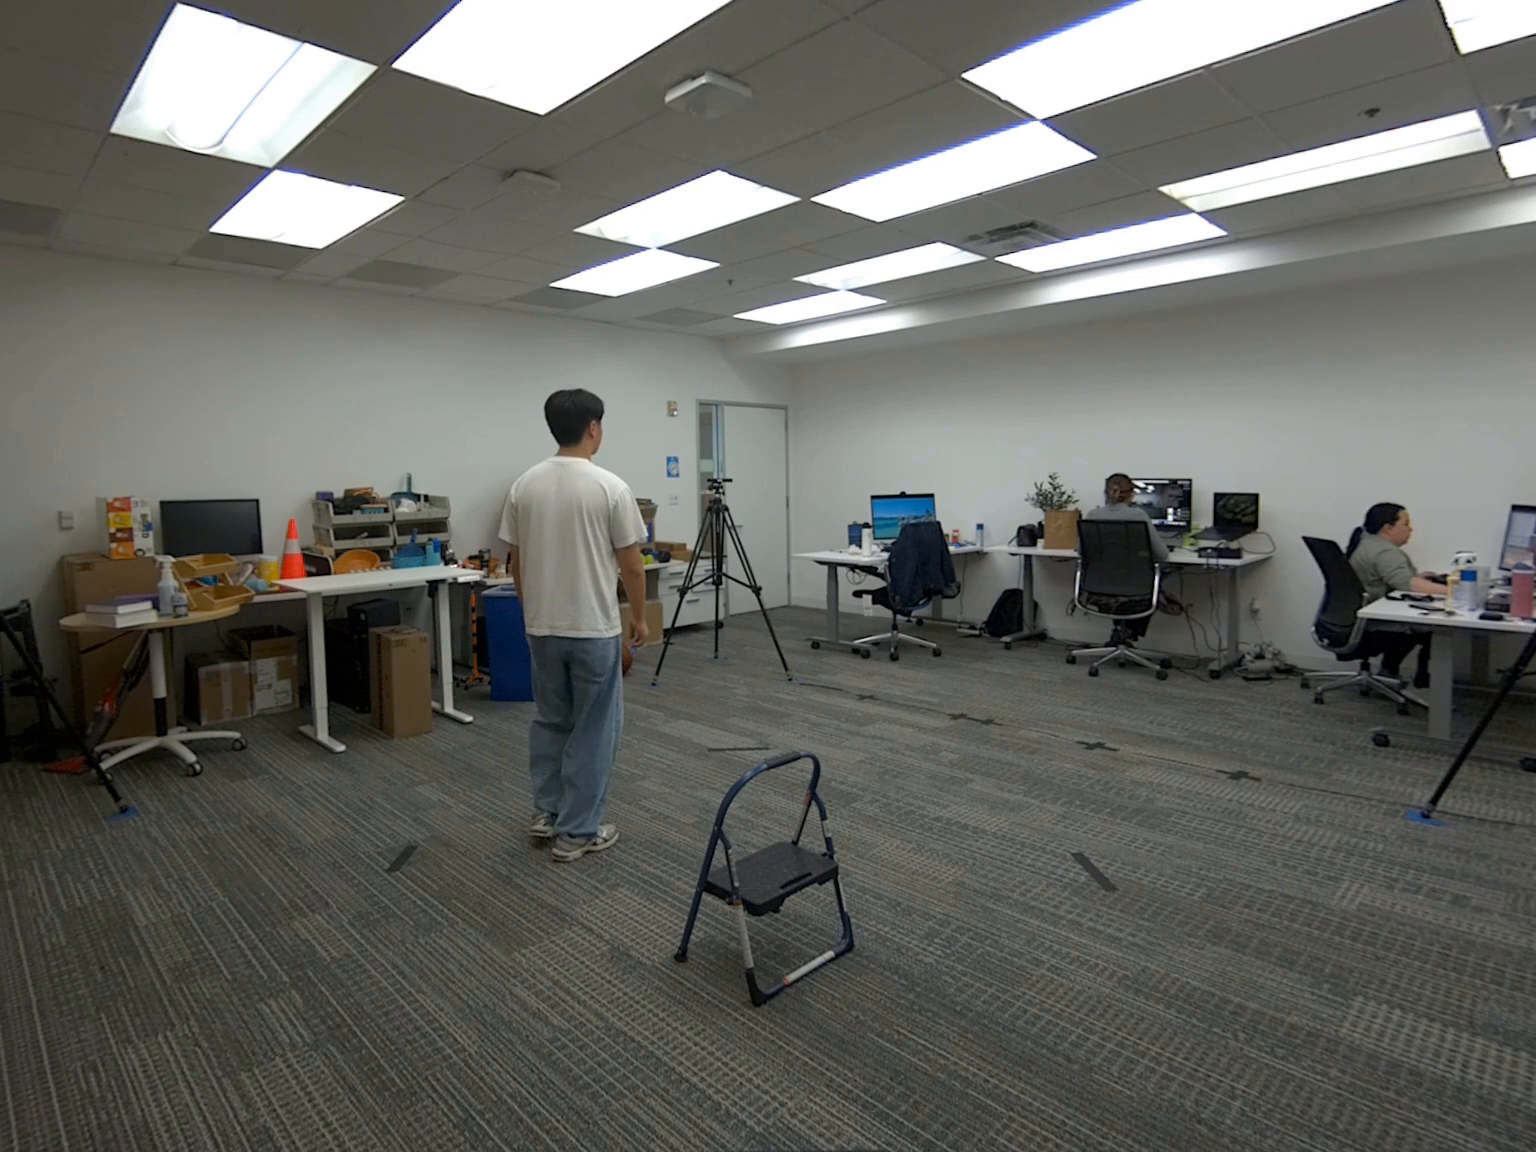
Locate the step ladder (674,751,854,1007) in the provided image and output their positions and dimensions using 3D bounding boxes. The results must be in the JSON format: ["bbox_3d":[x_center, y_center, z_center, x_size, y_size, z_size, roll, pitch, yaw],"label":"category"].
[{"bbox_3d":[-0.009,0.809,2.502,0.360,0.604,0.419,3,6,45],"label":"step ladder"}]
